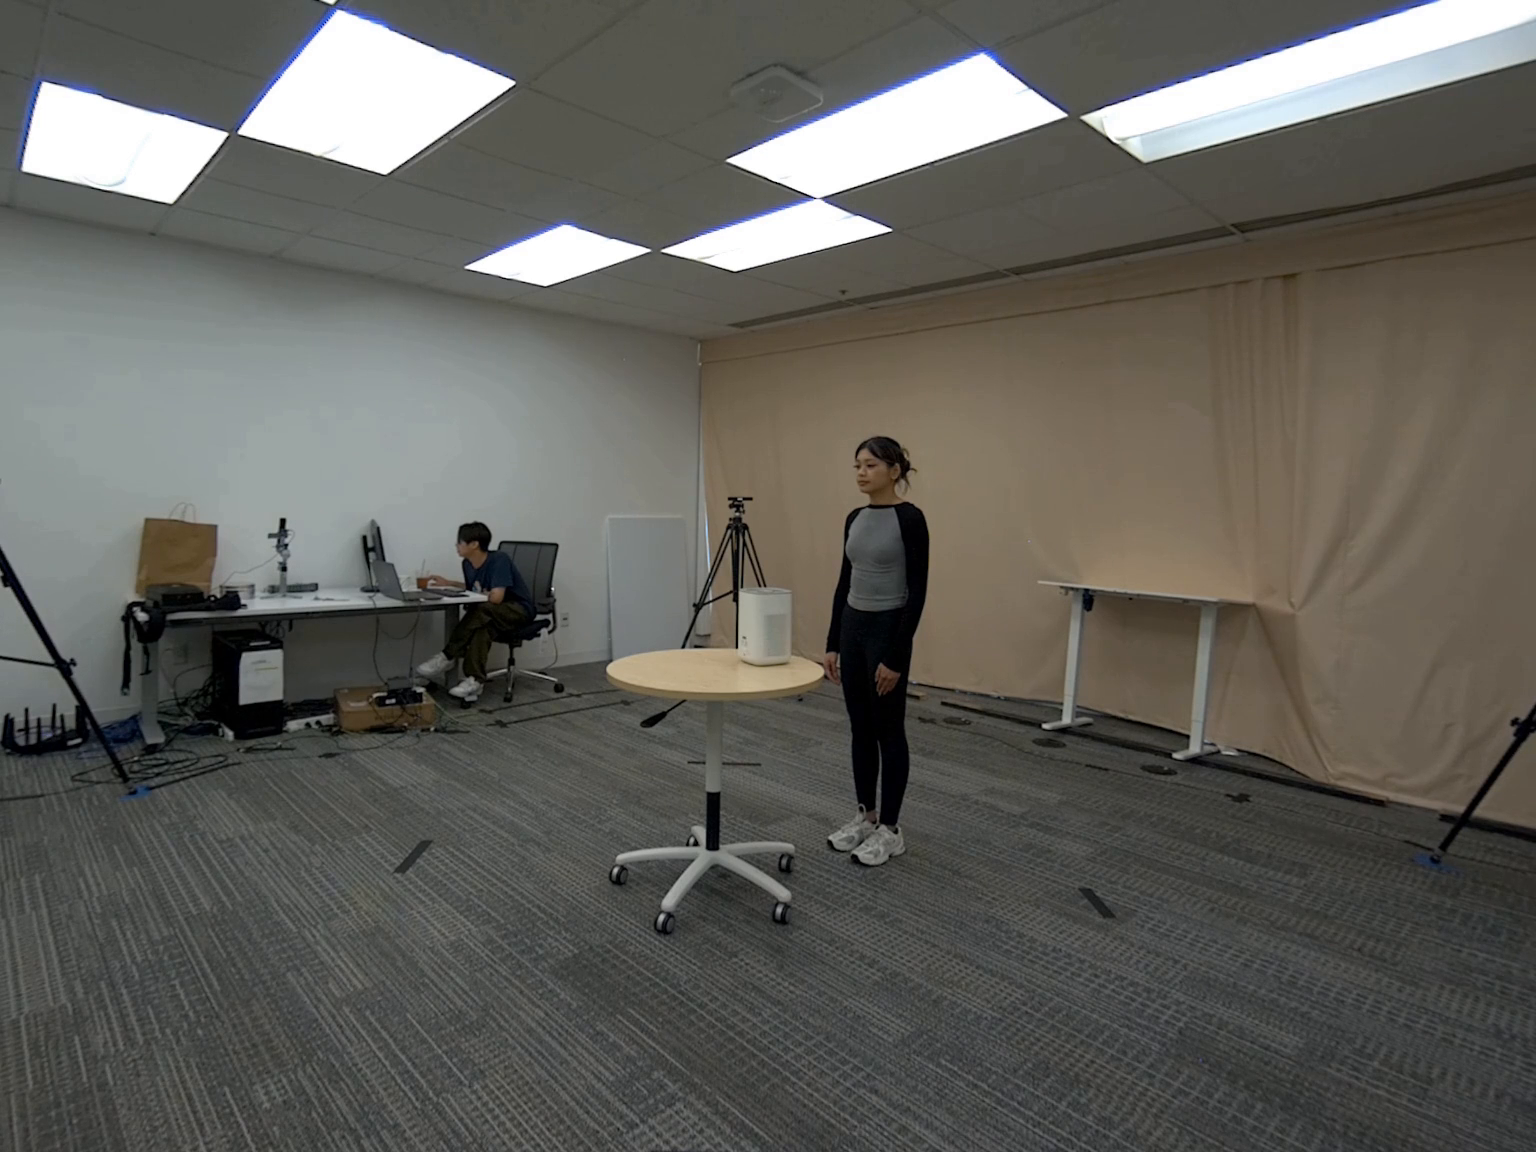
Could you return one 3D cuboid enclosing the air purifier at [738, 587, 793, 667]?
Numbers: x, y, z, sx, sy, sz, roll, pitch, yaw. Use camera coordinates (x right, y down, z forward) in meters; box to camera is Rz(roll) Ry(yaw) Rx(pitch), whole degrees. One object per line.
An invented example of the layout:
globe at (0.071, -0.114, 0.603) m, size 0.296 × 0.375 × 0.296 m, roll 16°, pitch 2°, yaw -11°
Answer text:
air purifier at (-0.019, 0.180, 3.081) m, size 0.168 × 0.265 × 0.175 m, roll -1°, pitch 2°, yaw -28°
